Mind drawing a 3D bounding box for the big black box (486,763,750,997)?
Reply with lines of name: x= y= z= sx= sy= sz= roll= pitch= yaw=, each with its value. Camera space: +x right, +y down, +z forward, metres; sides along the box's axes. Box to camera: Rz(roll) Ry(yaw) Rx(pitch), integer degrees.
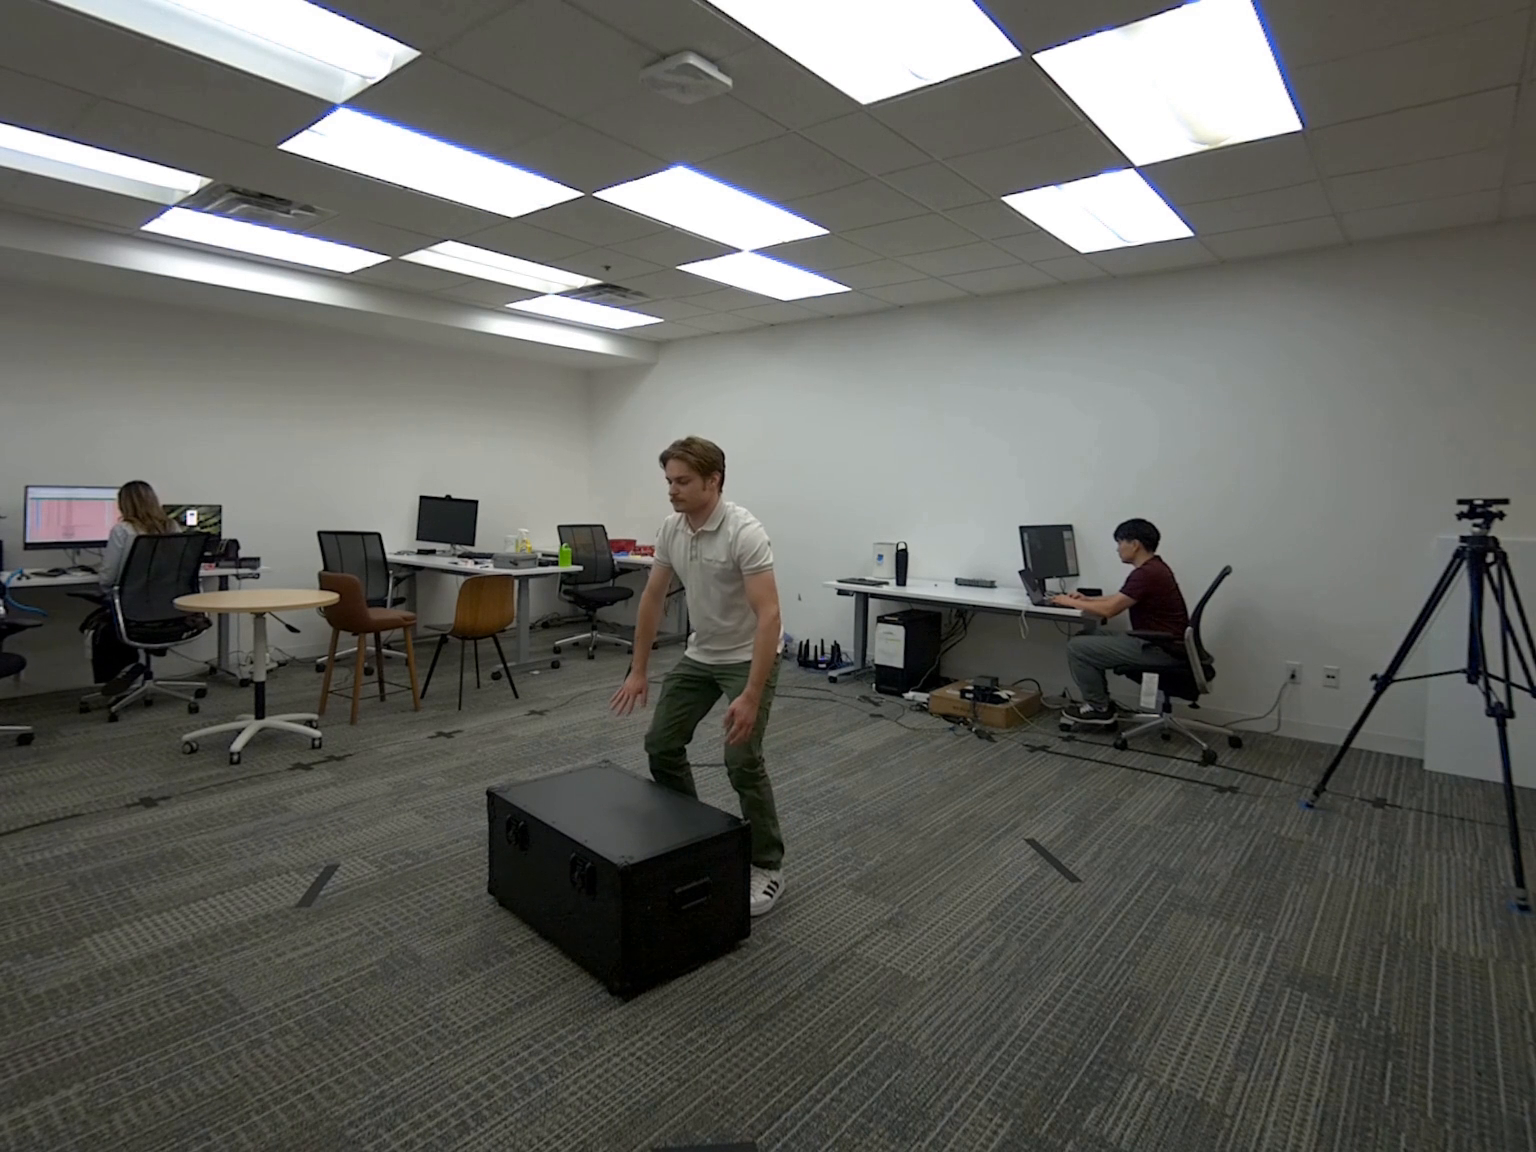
big black box: x=-0.522 y=0.902 z=2.743 sx=0.508 sy=0.383 sz=0.898 roll=-5 pitch=8 yaw=-42
